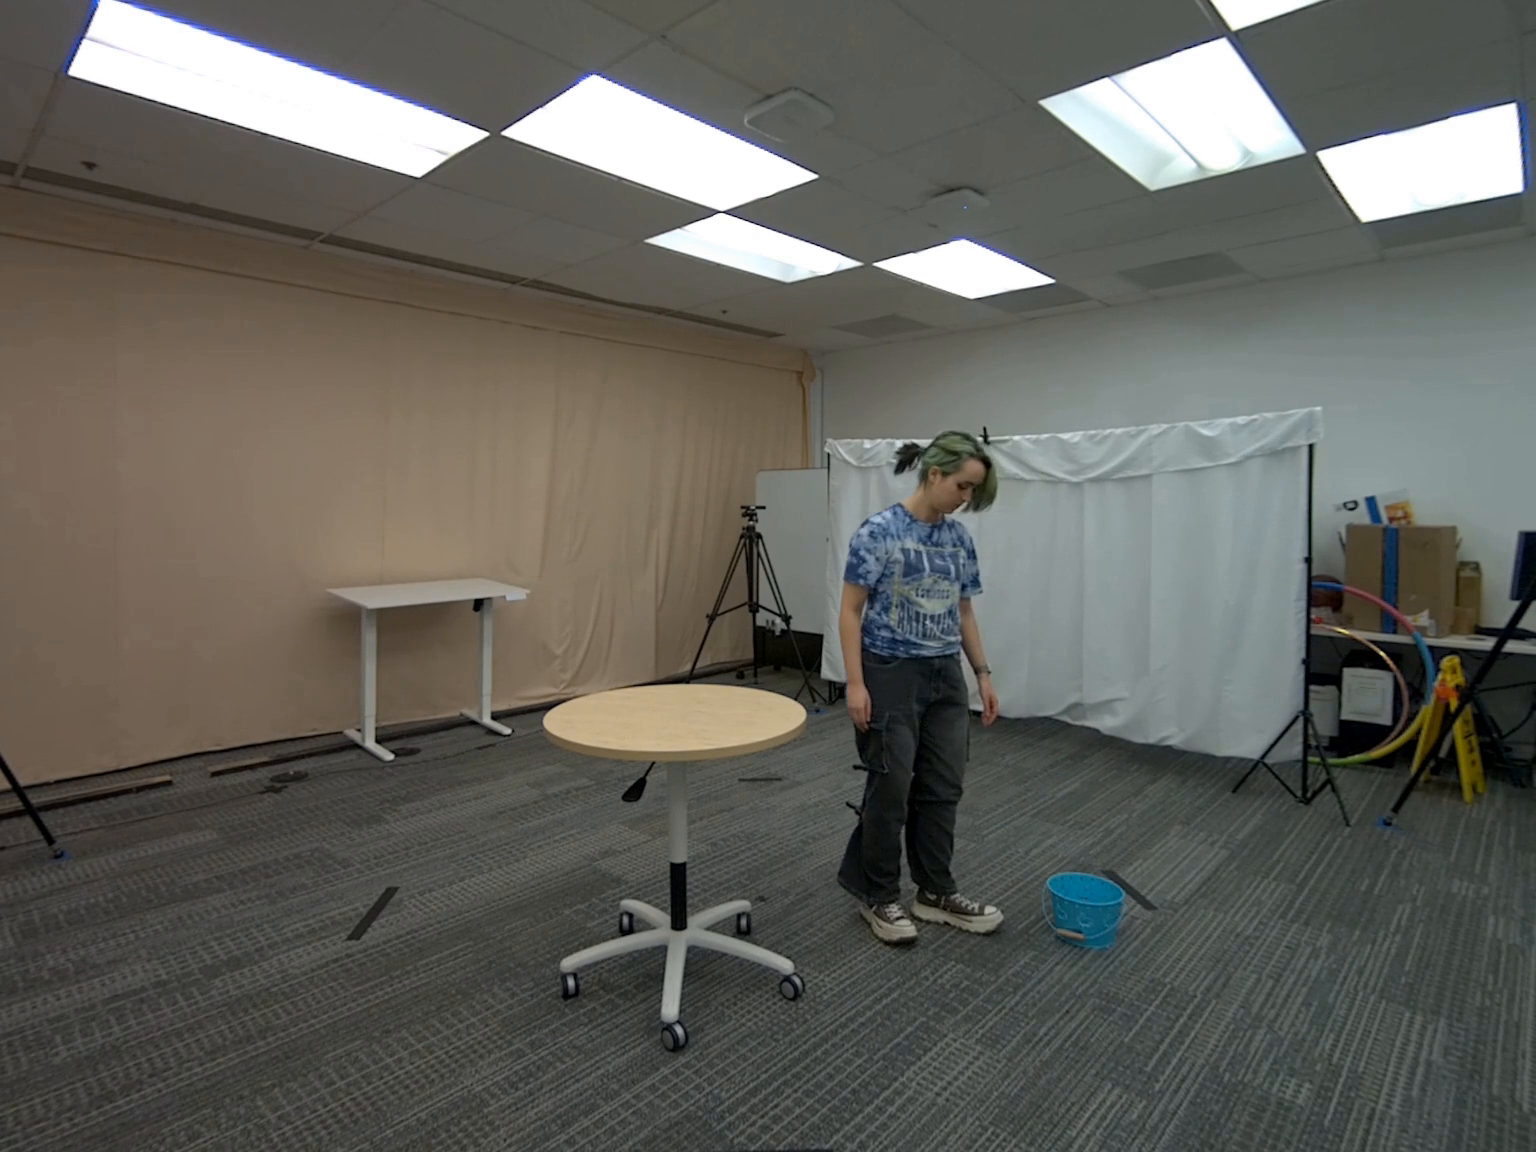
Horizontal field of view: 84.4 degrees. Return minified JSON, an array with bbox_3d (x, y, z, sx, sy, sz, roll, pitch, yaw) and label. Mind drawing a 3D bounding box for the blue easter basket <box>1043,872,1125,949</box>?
[{"bbox_3d":[1.029,1.087,2.724,0.243,0.155,0.244,1,3,-2],"label":"blue easter basket"}]
